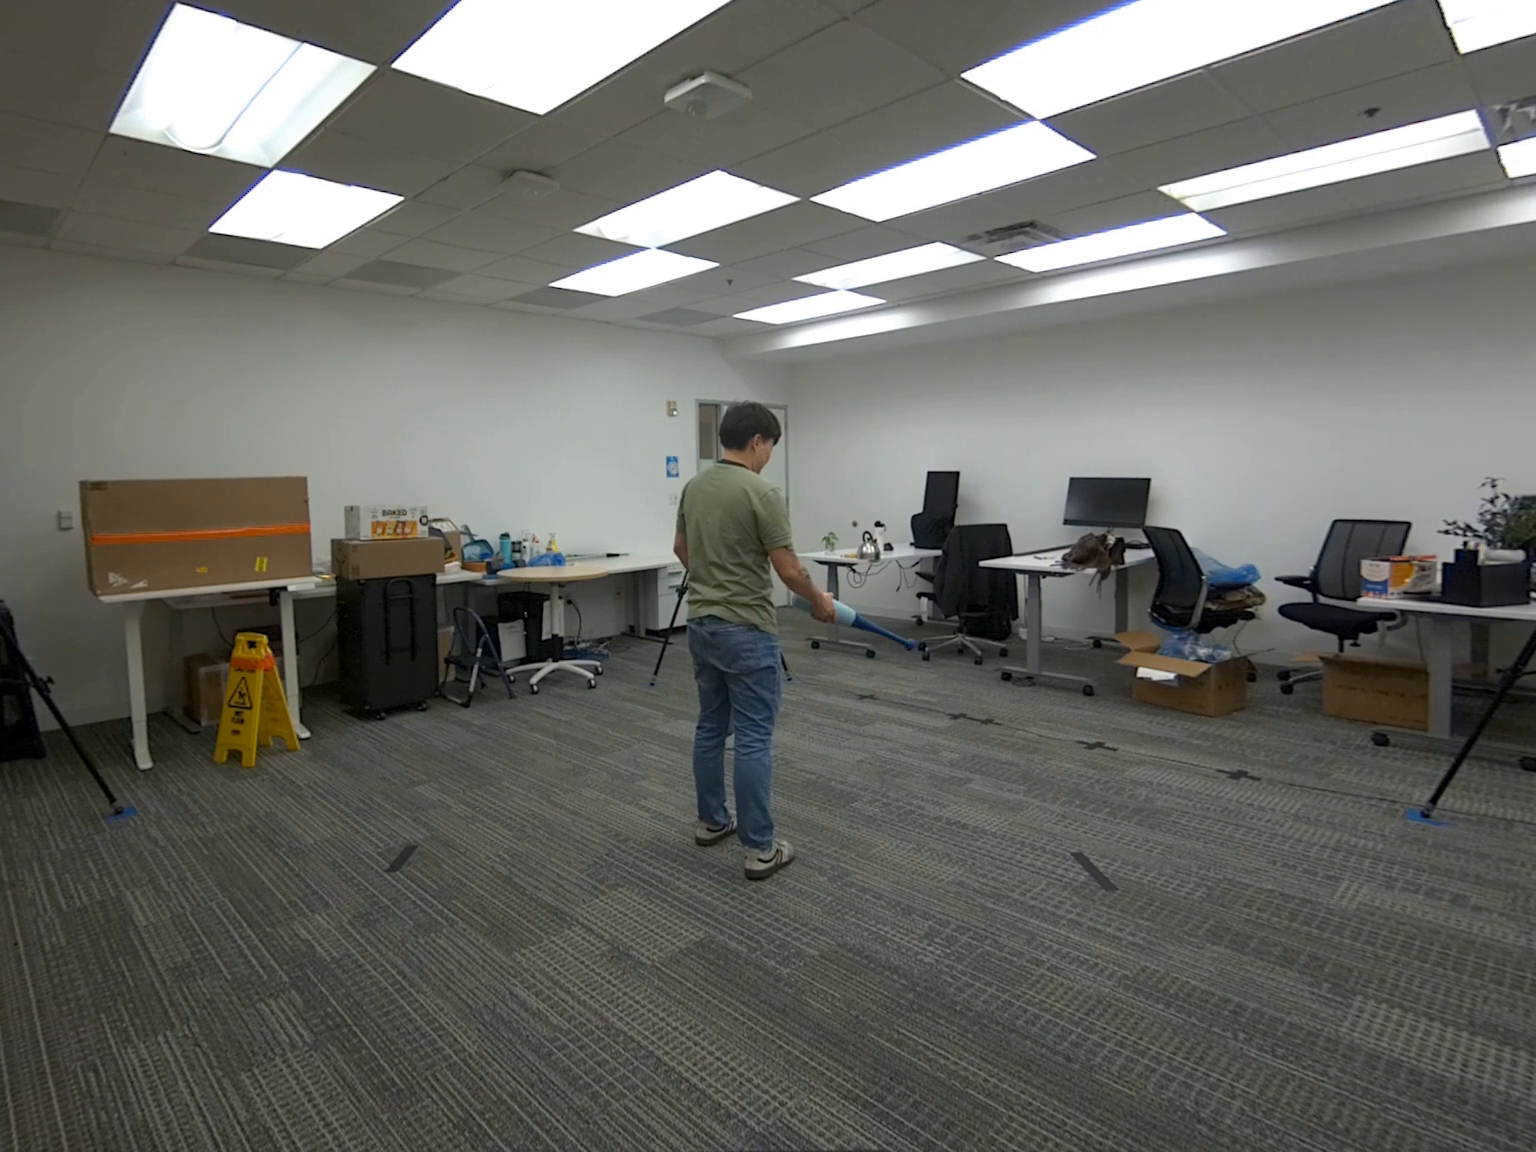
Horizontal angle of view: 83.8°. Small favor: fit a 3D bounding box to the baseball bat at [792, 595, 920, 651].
[{"bbox_3d":[0.339,0.174,3.354,0.533,0.089,0.090,23,-2,-15],"label":"baseball bat"}]
